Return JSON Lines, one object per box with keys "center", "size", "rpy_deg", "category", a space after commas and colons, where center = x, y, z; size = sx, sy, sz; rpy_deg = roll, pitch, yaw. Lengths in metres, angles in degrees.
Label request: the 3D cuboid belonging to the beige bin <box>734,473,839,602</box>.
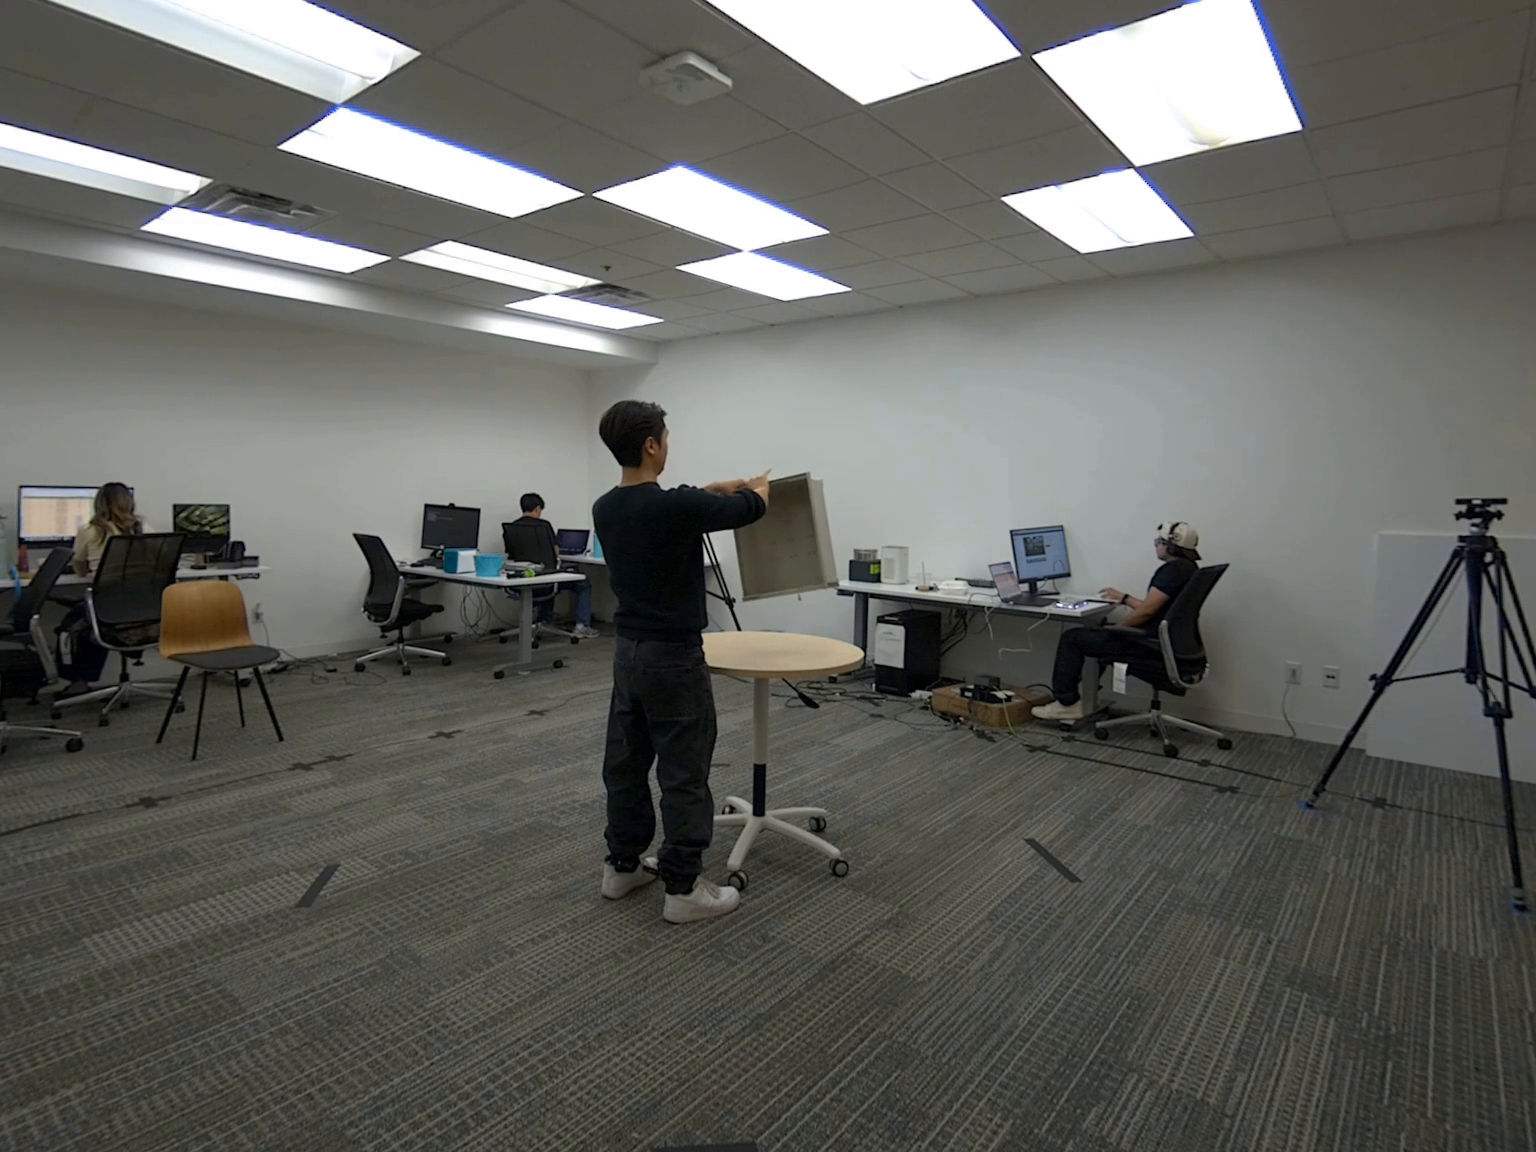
{"center": [0.034, -0.141, 3.178], "size": [0.385, 0.426, 0.184], "rpy_deg": [-12, -8, 25], "category": "beige bin"}
